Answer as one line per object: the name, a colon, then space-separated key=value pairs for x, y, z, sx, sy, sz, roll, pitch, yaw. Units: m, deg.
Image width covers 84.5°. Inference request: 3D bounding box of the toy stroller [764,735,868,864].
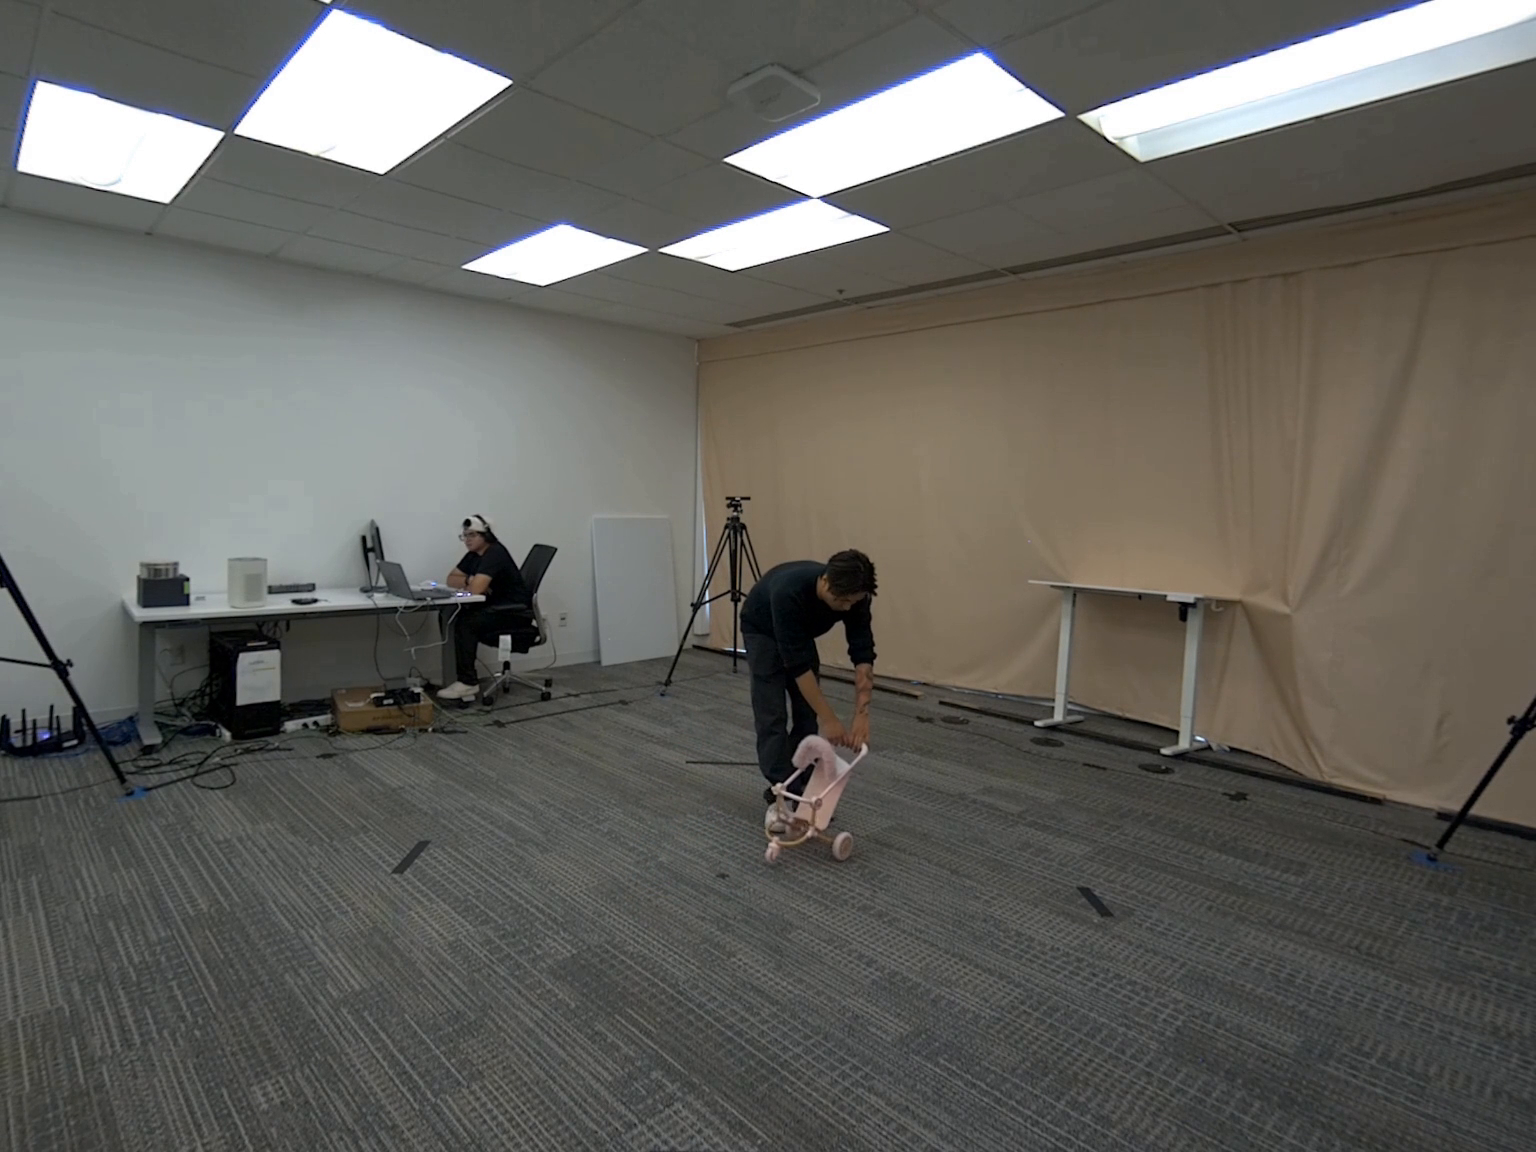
toy stroller: x=0.154 y=0.871 z=3.309 sx=0.331 sy=0.537 sz=0.288 roll=23 pitch=-12 yaw=-38
